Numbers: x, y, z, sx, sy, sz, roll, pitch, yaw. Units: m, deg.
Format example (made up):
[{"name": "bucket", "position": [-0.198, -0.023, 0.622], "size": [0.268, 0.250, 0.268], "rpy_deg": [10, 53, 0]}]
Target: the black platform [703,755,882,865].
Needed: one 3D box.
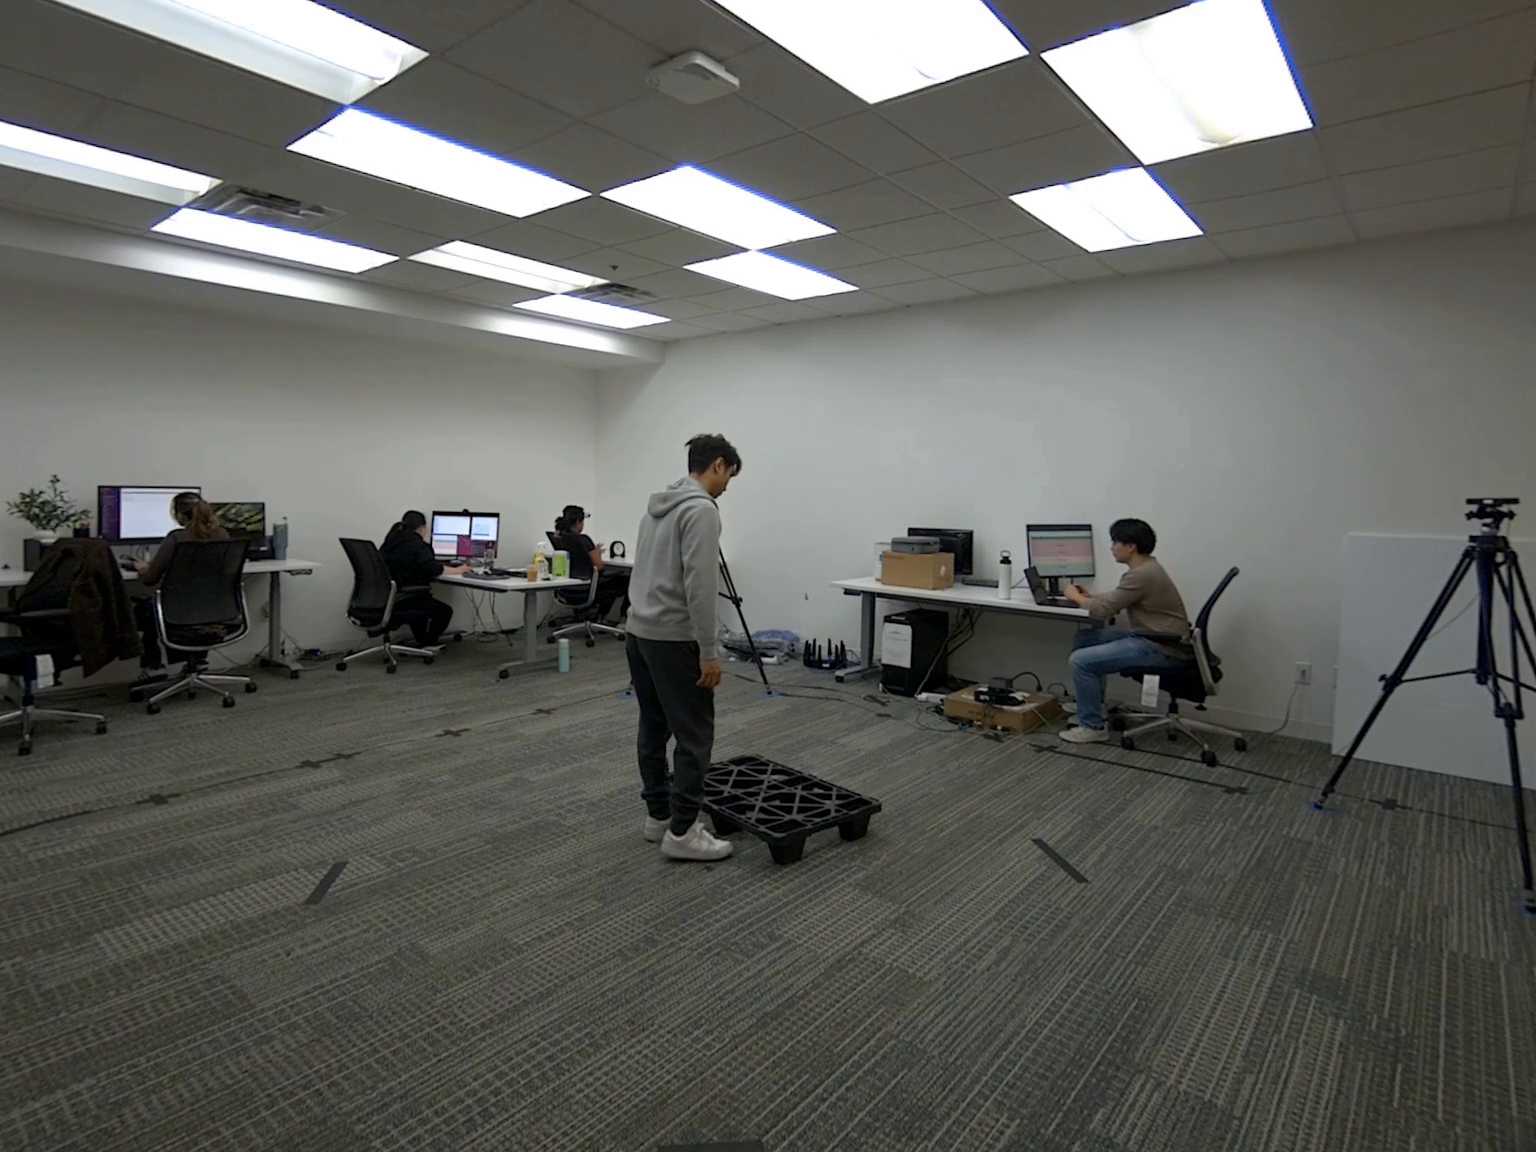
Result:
[{"name": "black platform", "position": [-0.027, 0.960, 3.567], "size": [0.587, 0.143, 0.833], "rpy_deg": [-5, 8, -41]}]
